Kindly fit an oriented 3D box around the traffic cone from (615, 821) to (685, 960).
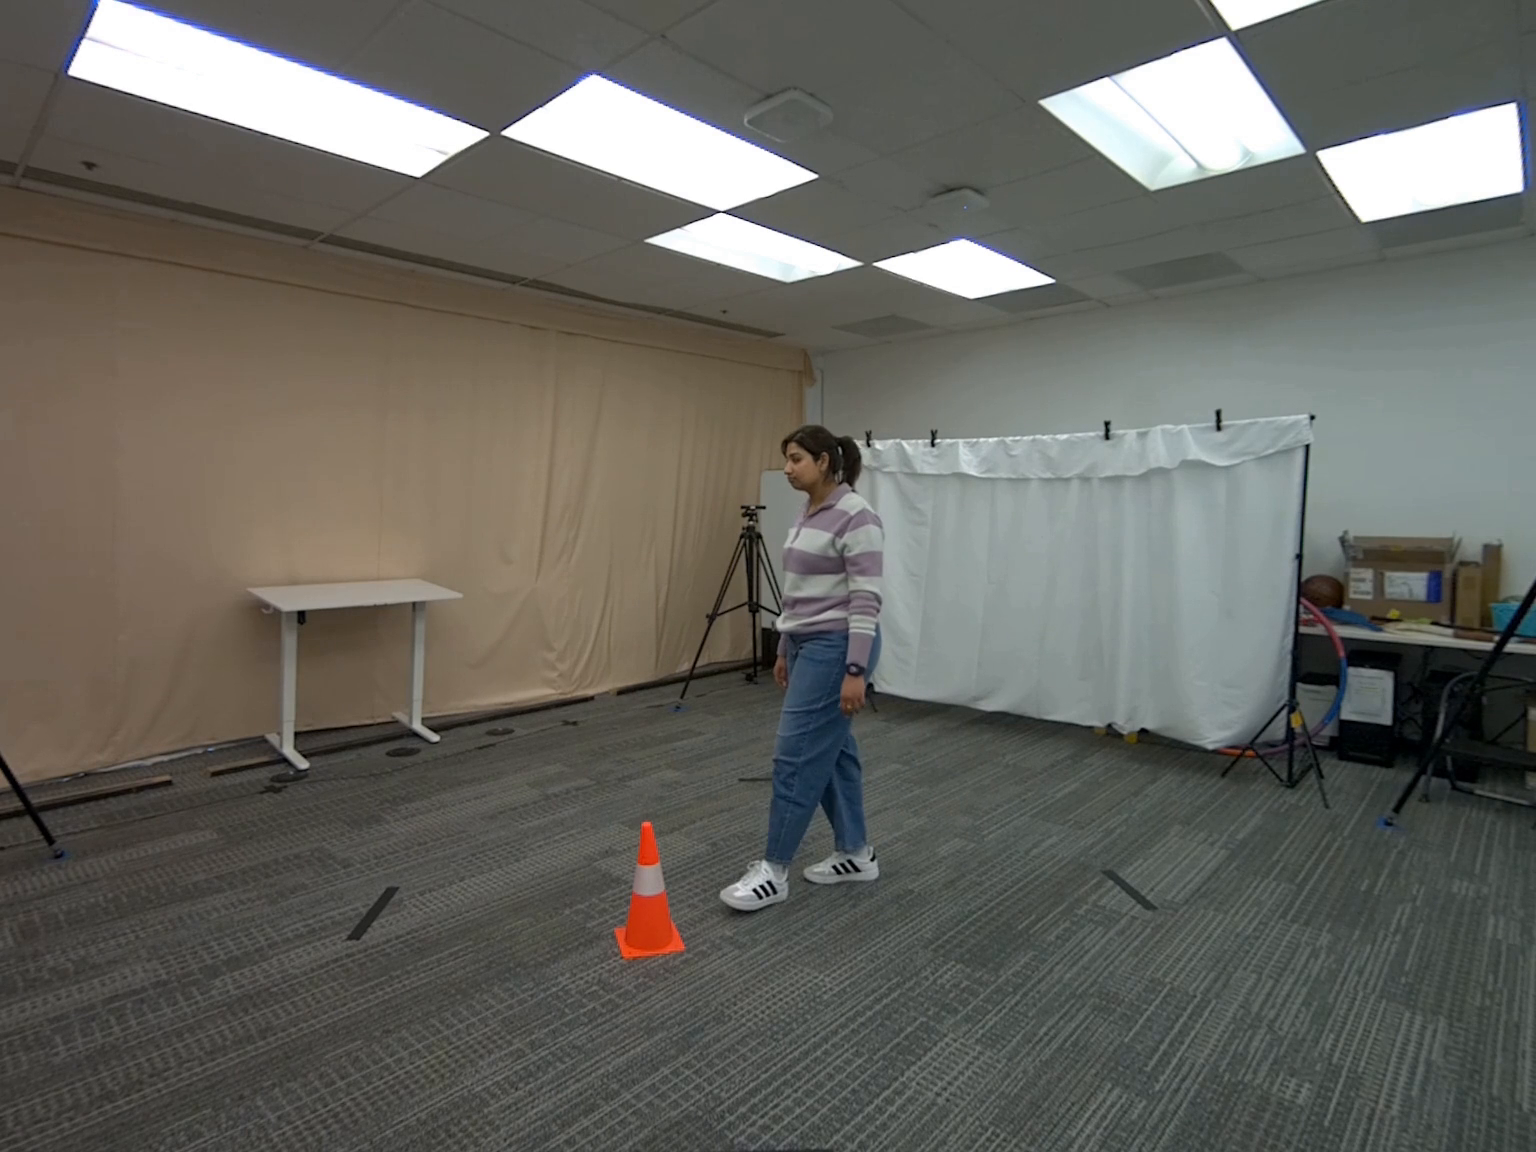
[{"bbox_3d":[-0.376,0.987,2.696,0.202,0.383,0.207,1,4,-16],"label":"traffic cone"}]
